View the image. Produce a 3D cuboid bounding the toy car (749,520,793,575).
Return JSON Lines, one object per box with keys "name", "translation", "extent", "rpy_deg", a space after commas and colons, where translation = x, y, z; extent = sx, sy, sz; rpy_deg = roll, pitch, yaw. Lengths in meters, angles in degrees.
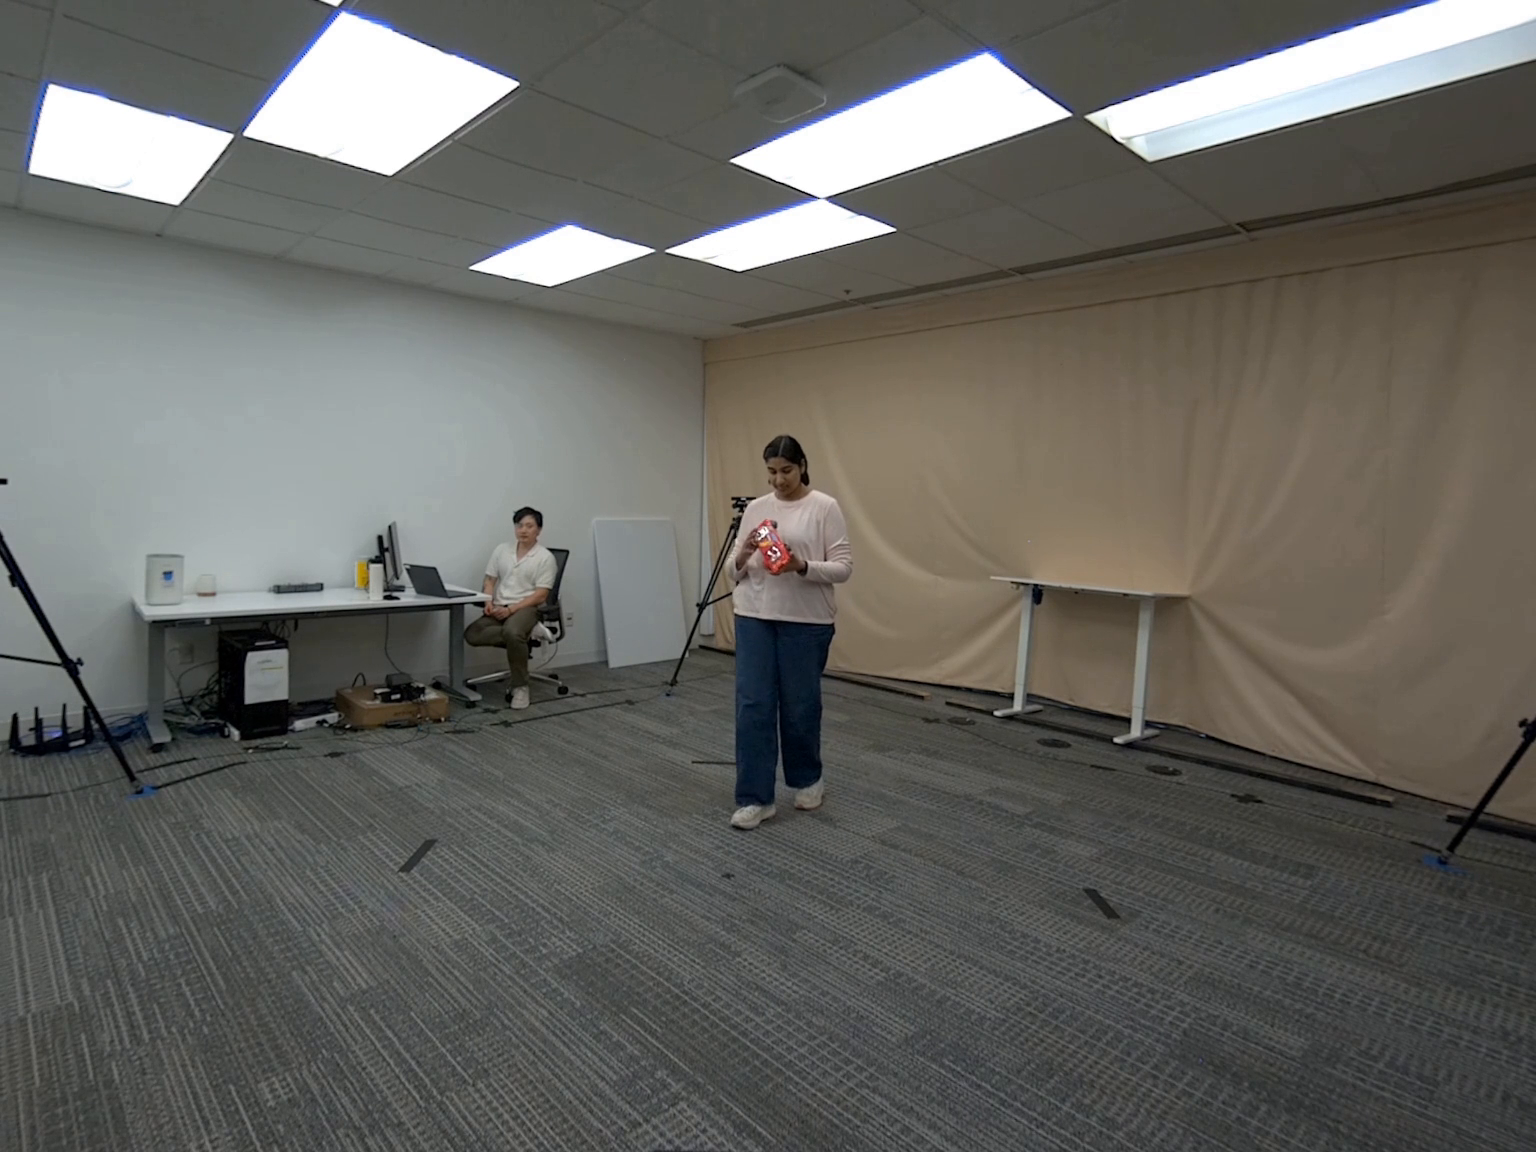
{"name": "toy car", "translation": [0.010, -0.116, 3.439], "extent": [0.081, 0.130, 0.262], "rpy_deg": [35, 24, -38]}
